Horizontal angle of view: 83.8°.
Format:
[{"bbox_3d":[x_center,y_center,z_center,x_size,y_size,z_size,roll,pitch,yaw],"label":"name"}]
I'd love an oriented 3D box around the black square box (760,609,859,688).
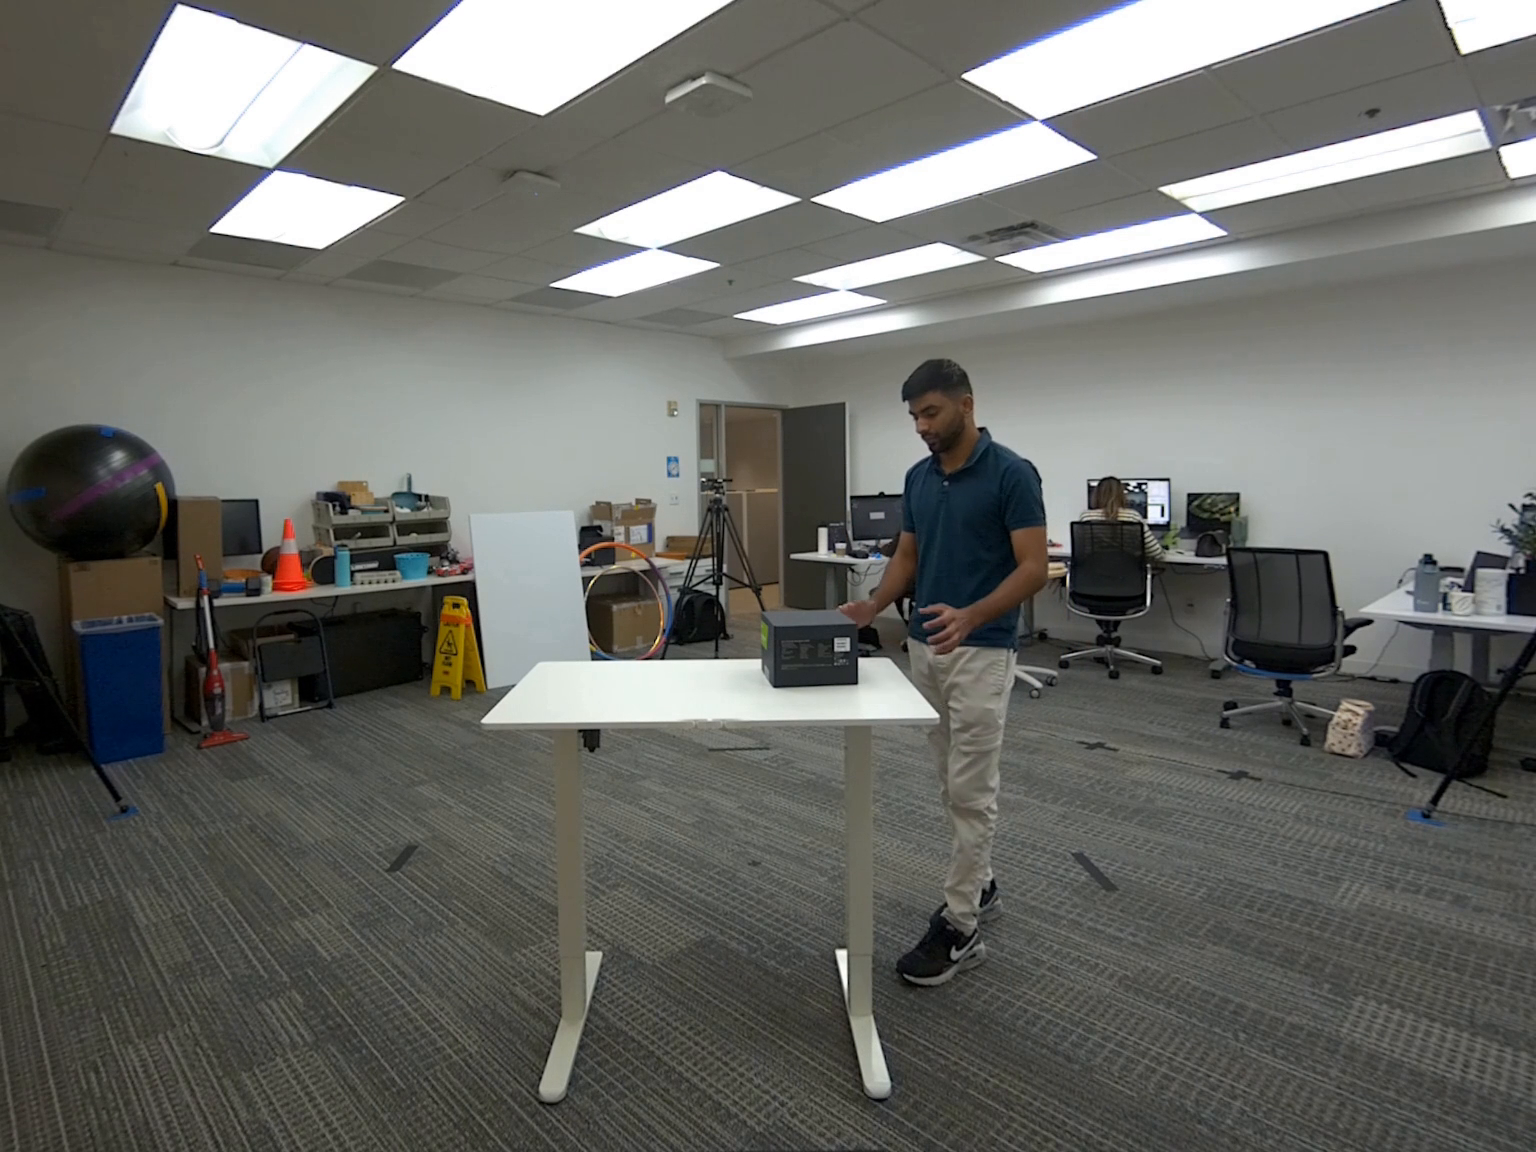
[{"bbox_3d":[0.096,0.180,2.234,0.217,0.155,0.229,0,7,-2],"label":"black square box"}]
